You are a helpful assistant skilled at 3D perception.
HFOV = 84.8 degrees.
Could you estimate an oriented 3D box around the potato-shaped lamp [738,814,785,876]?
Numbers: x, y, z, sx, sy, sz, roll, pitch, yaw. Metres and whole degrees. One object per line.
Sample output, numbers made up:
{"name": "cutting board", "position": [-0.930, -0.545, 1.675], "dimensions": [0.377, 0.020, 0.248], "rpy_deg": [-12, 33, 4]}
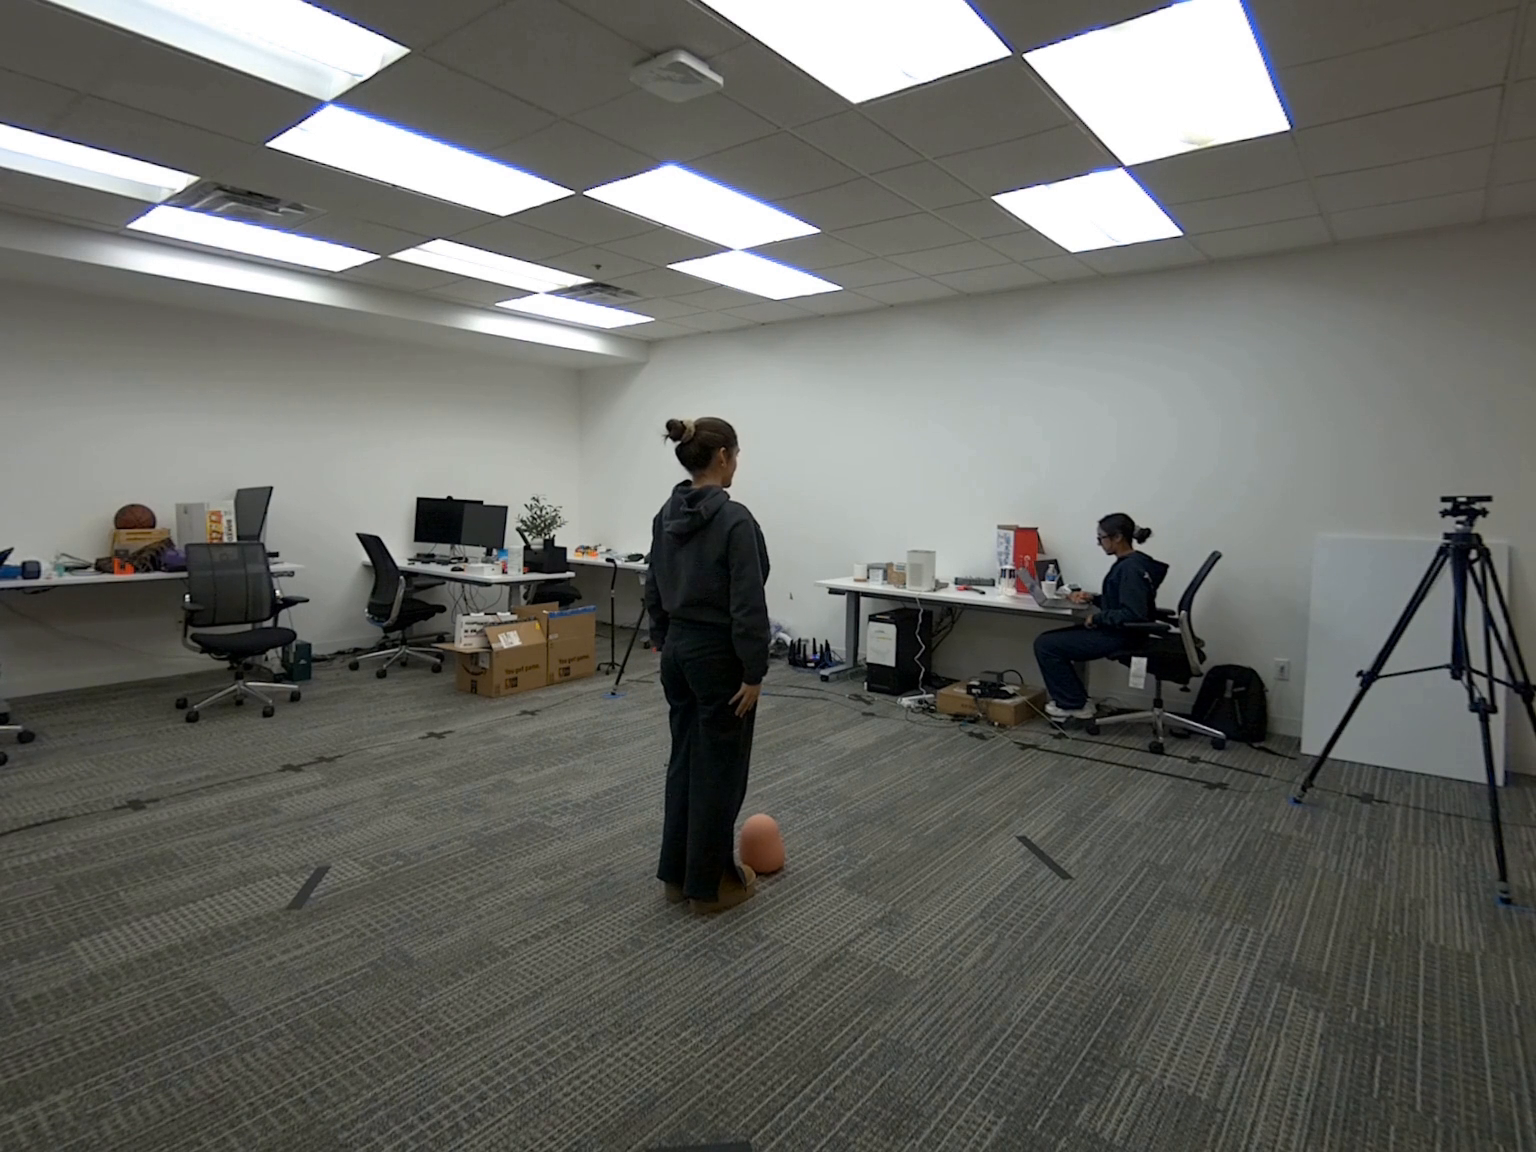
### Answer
{"name": "potato-shaped lamp", "position": [-0.025, 0.985, 3.119], "dimensions": [0.169, 0.199, 0.166], "rpy_deg": [-3, -3, 33]}
